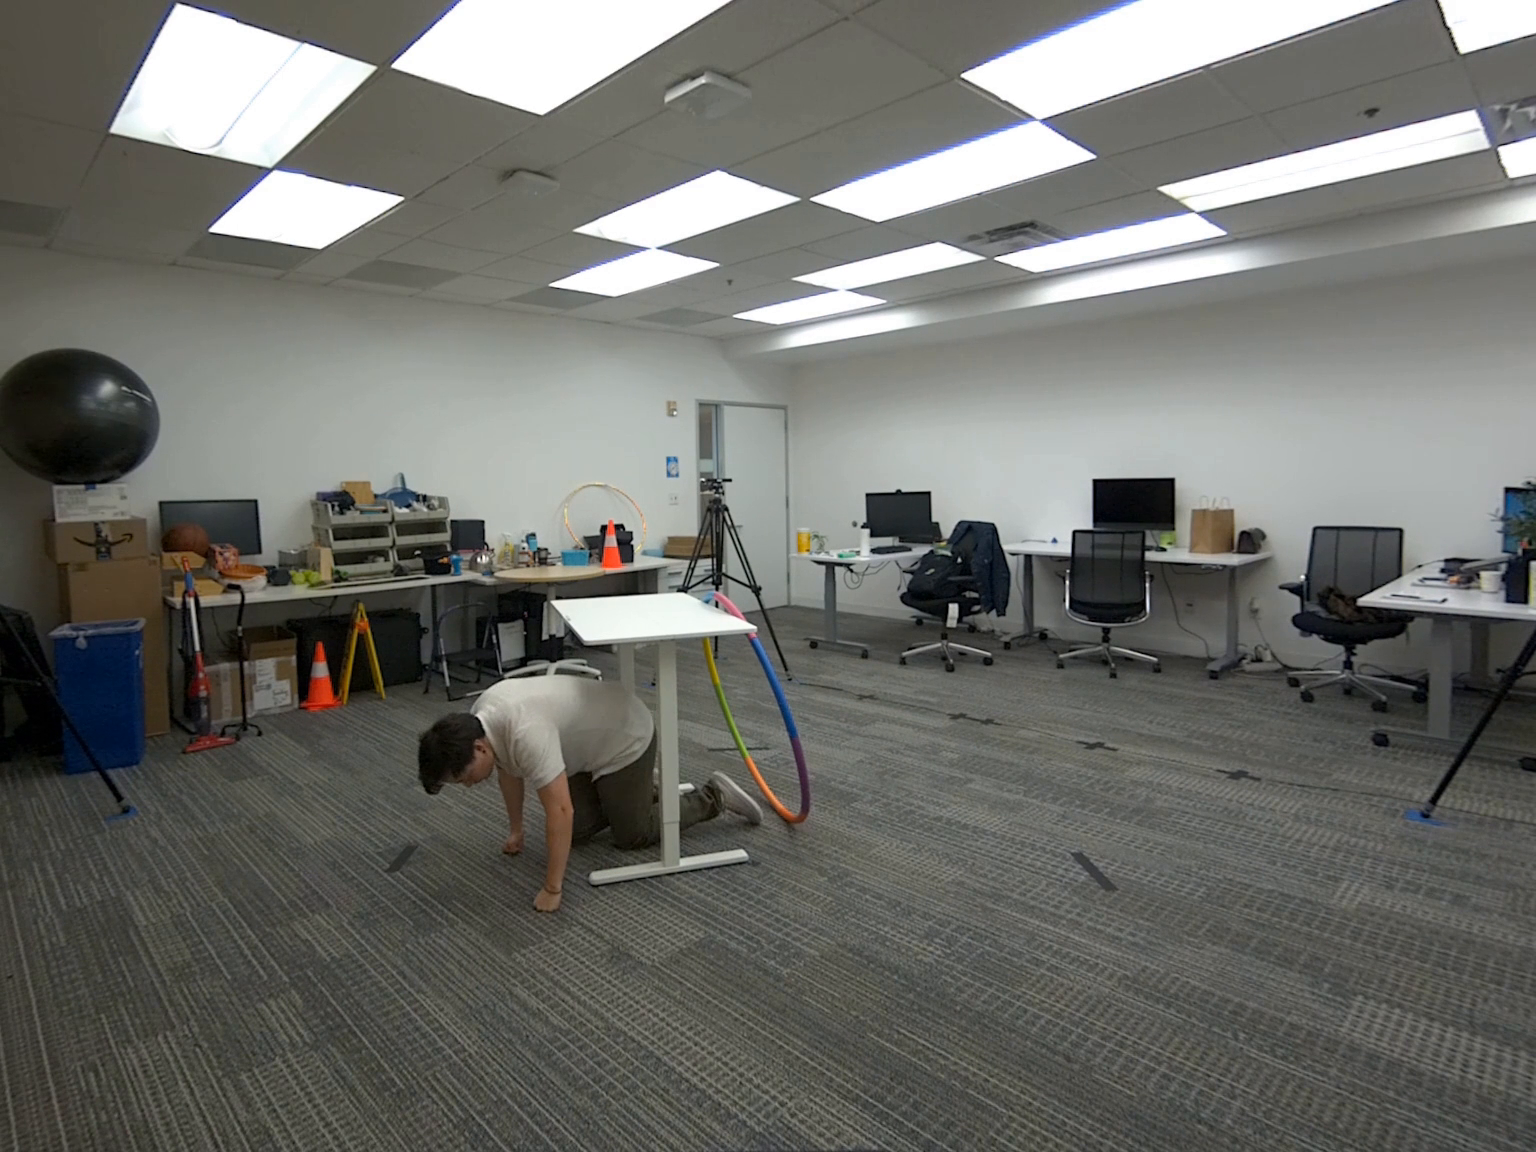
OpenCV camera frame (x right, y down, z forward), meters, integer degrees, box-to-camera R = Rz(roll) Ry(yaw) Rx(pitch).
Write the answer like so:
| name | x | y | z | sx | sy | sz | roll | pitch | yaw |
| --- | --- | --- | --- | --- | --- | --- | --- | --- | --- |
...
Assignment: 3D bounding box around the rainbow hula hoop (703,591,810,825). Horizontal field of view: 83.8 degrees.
| name | x | y | z | sx | sy | sz | roll | pitch | yaw |
| --- | --- | --- | --- | --- | --- | --- | --- | --- | --- |
| rainbow hula hoop | -0.071 | 0.531 | 3.496 | 0.035 | 0.969 | 0.999 | -19 | 10 | -18 |
